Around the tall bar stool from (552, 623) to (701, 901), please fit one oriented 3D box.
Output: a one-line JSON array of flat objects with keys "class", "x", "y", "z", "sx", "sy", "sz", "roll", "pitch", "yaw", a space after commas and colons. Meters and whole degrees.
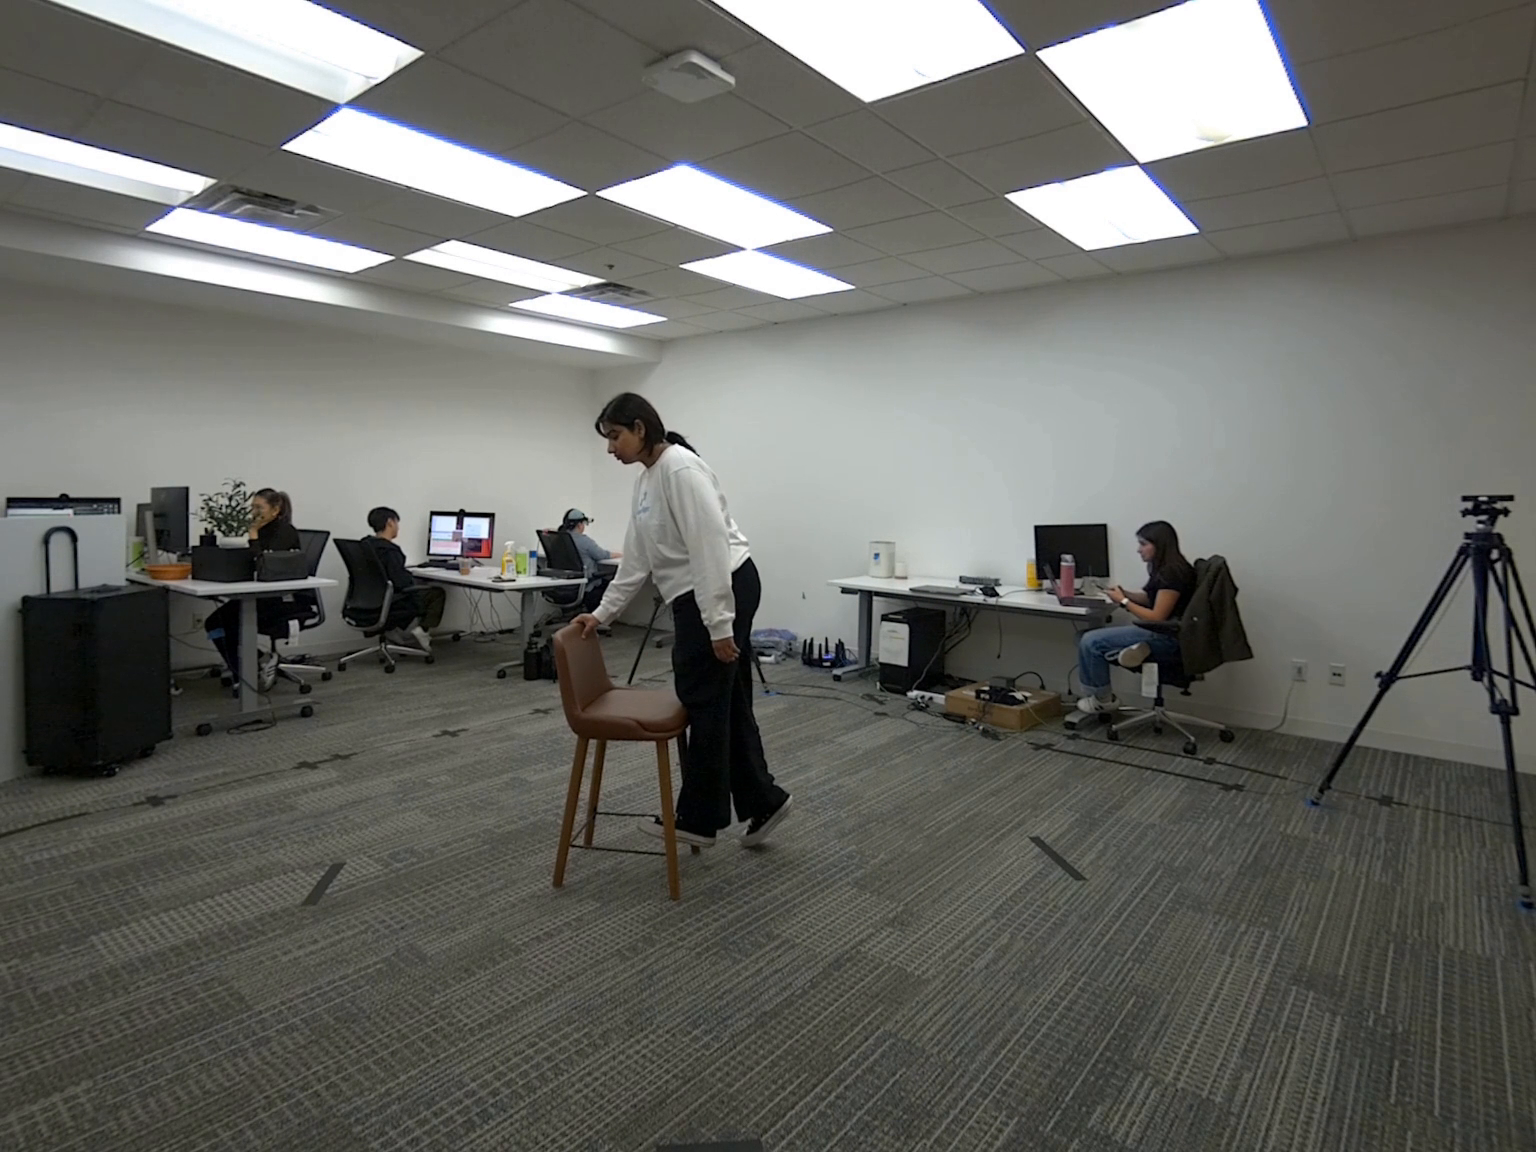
[{"class": "tall bar stool", "x": -0.510, "y": 0.632, "z": 3.074, "sx": 0.472, "sy": 0.888, "sz": 0.453, "roll": 0, "pitch": 3, "yaw": 9}]
